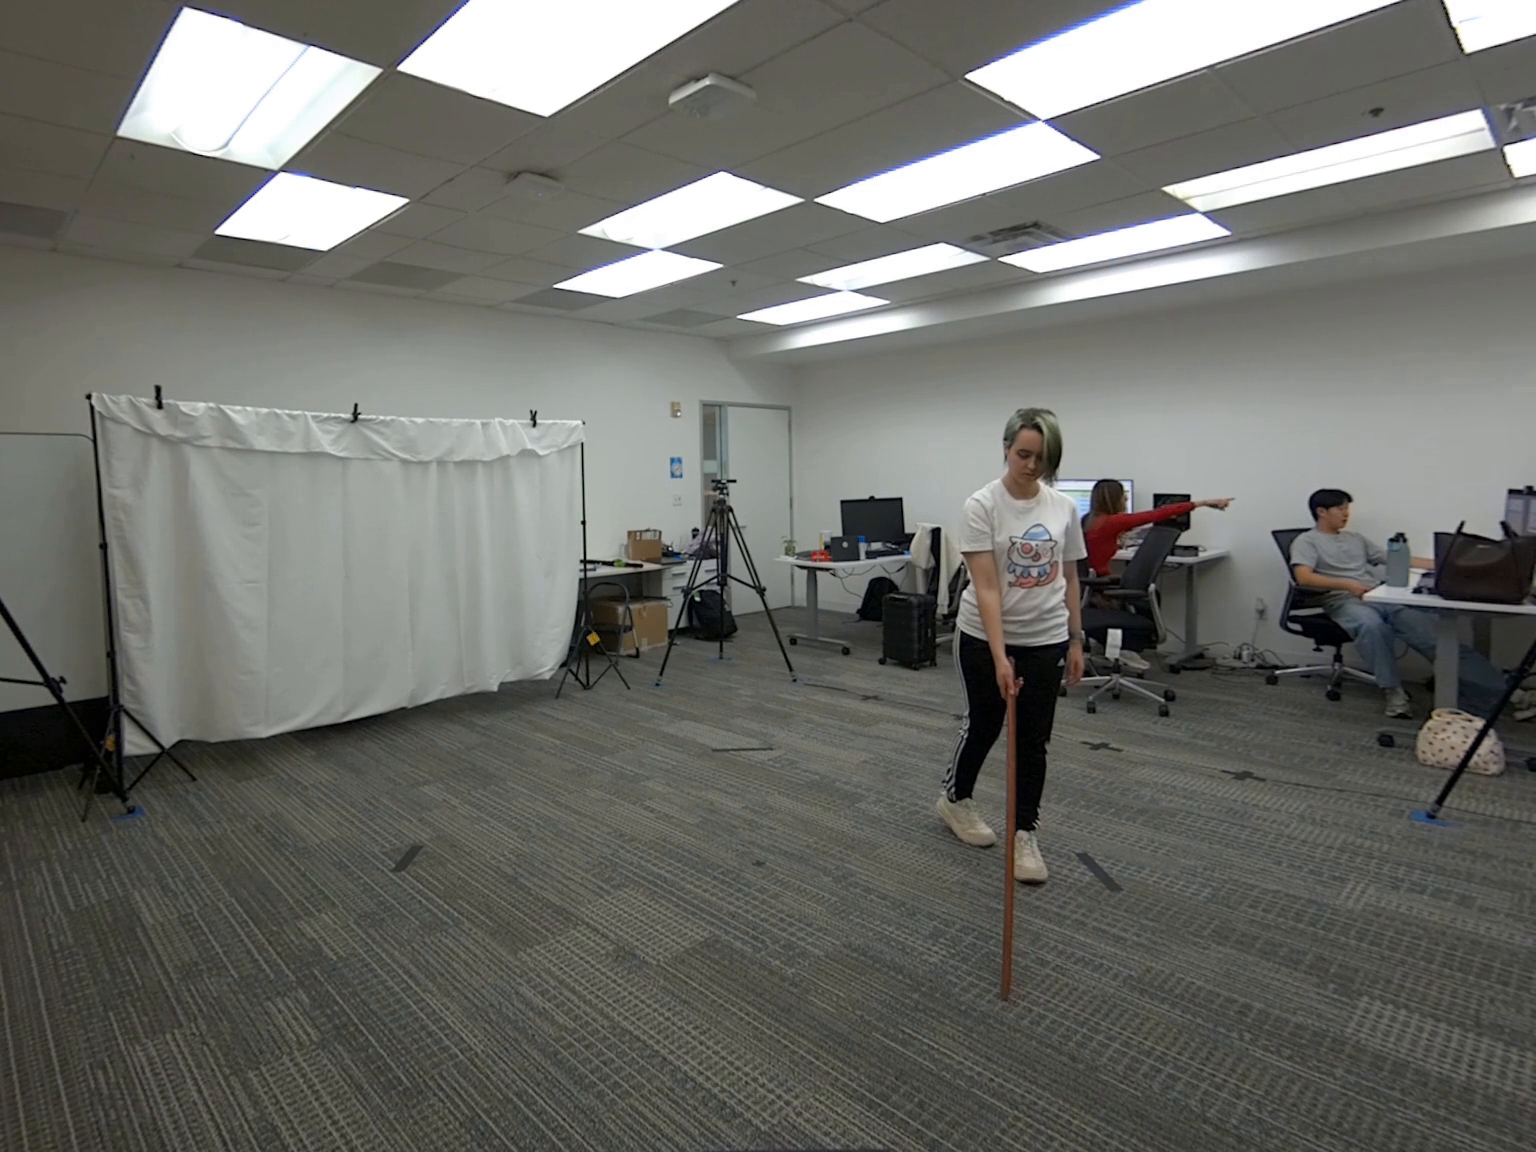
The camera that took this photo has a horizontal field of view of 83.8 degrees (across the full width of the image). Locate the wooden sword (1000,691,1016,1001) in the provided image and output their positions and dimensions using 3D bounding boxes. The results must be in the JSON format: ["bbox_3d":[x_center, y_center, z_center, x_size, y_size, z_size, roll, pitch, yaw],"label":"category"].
[{"bbox_3d":[0.732,0.719,2.569,0.052,1.046,0.023,-17,-43,31],"label":"wooden sword"}]
